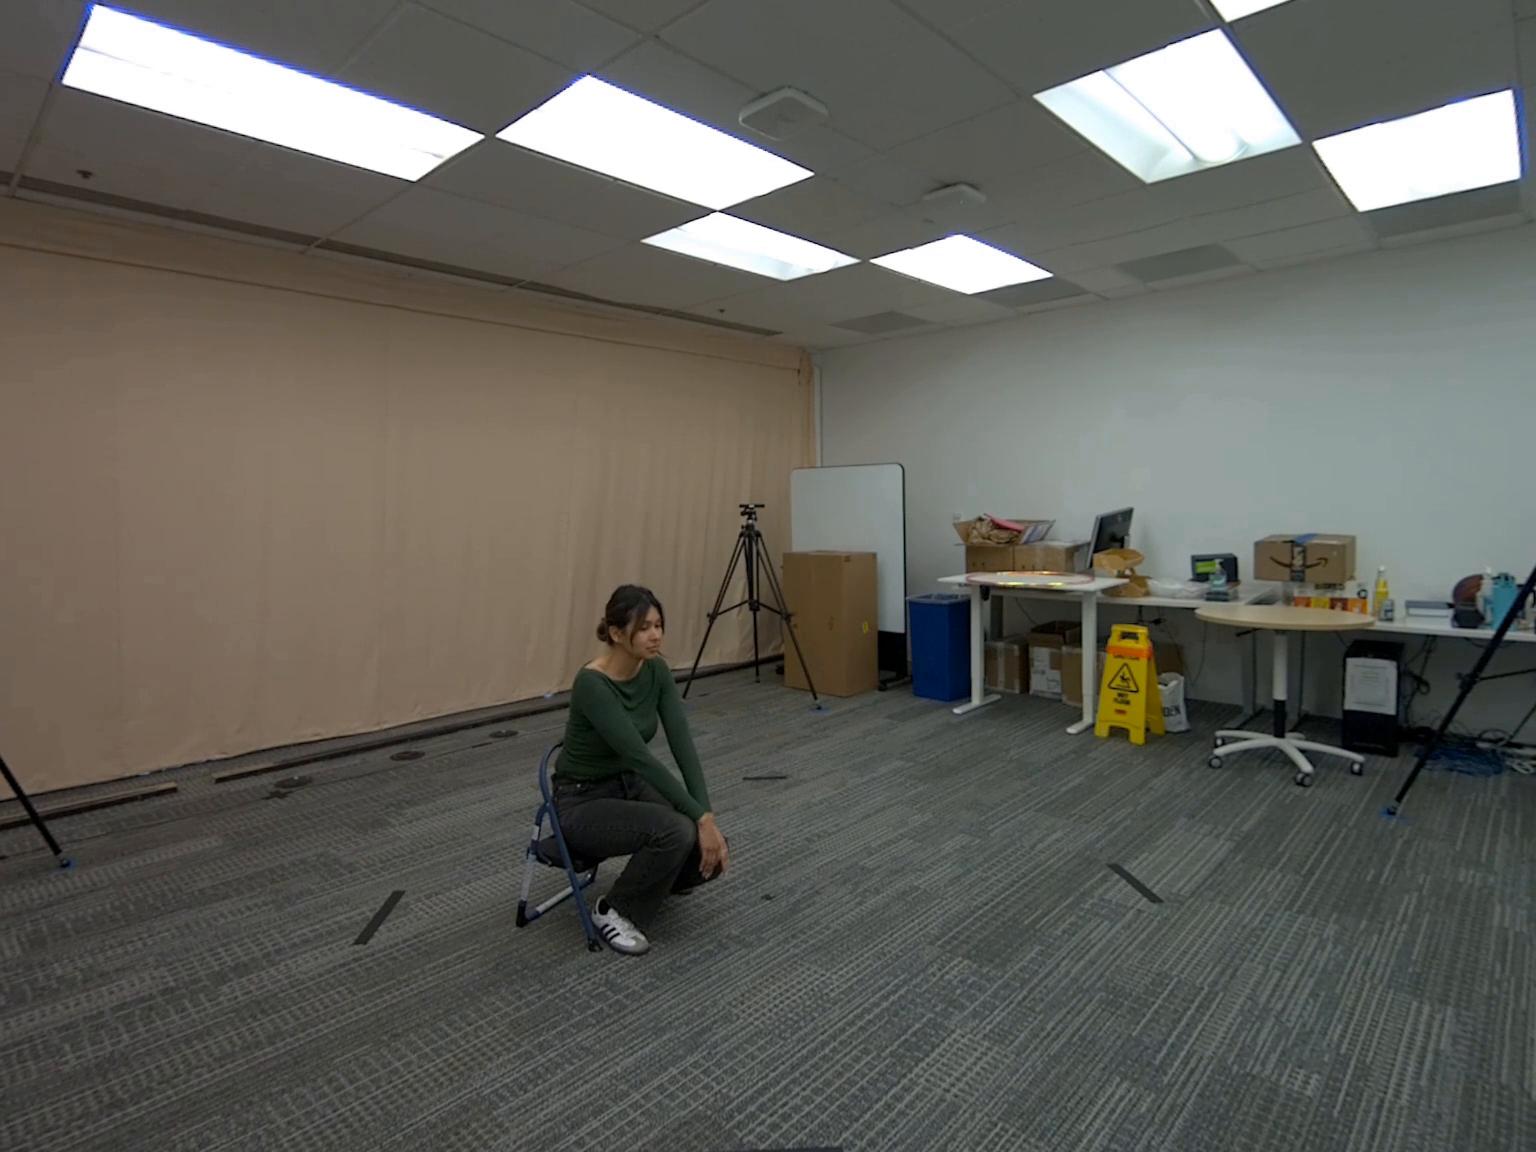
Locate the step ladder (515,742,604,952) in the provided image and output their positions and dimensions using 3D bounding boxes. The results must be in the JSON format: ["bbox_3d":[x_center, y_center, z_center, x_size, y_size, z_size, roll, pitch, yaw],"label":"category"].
[{"bbox_3d":[-0.612,0.866,2.897,0.359,0.605,0.420,0,3,27],"label":"step ladder"}]
